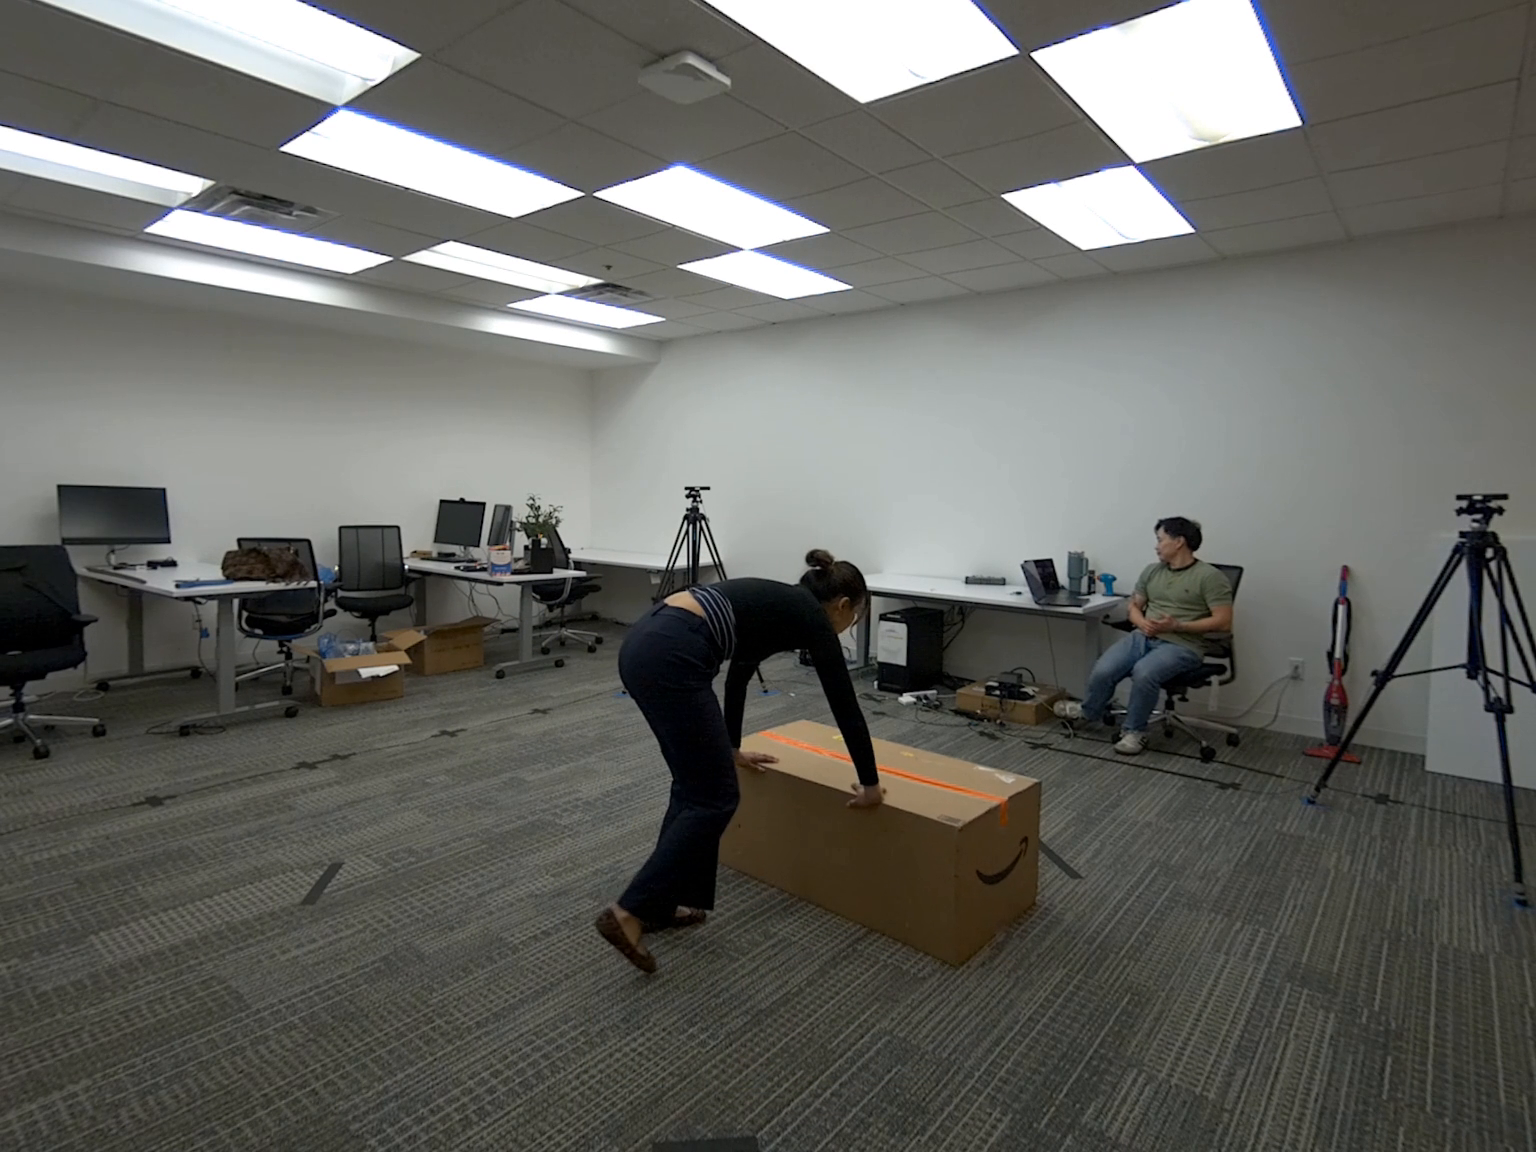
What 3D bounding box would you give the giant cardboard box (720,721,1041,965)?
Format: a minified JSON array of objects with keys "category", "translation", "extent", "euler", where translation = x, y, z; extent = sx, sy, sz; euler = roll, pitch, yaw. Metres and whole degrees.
[{"category":"giant cardboard box","translation":[0.348,0.869,3.035],"extent":[1.061,0.424,0.561],"euler":[6,8,42]}]
